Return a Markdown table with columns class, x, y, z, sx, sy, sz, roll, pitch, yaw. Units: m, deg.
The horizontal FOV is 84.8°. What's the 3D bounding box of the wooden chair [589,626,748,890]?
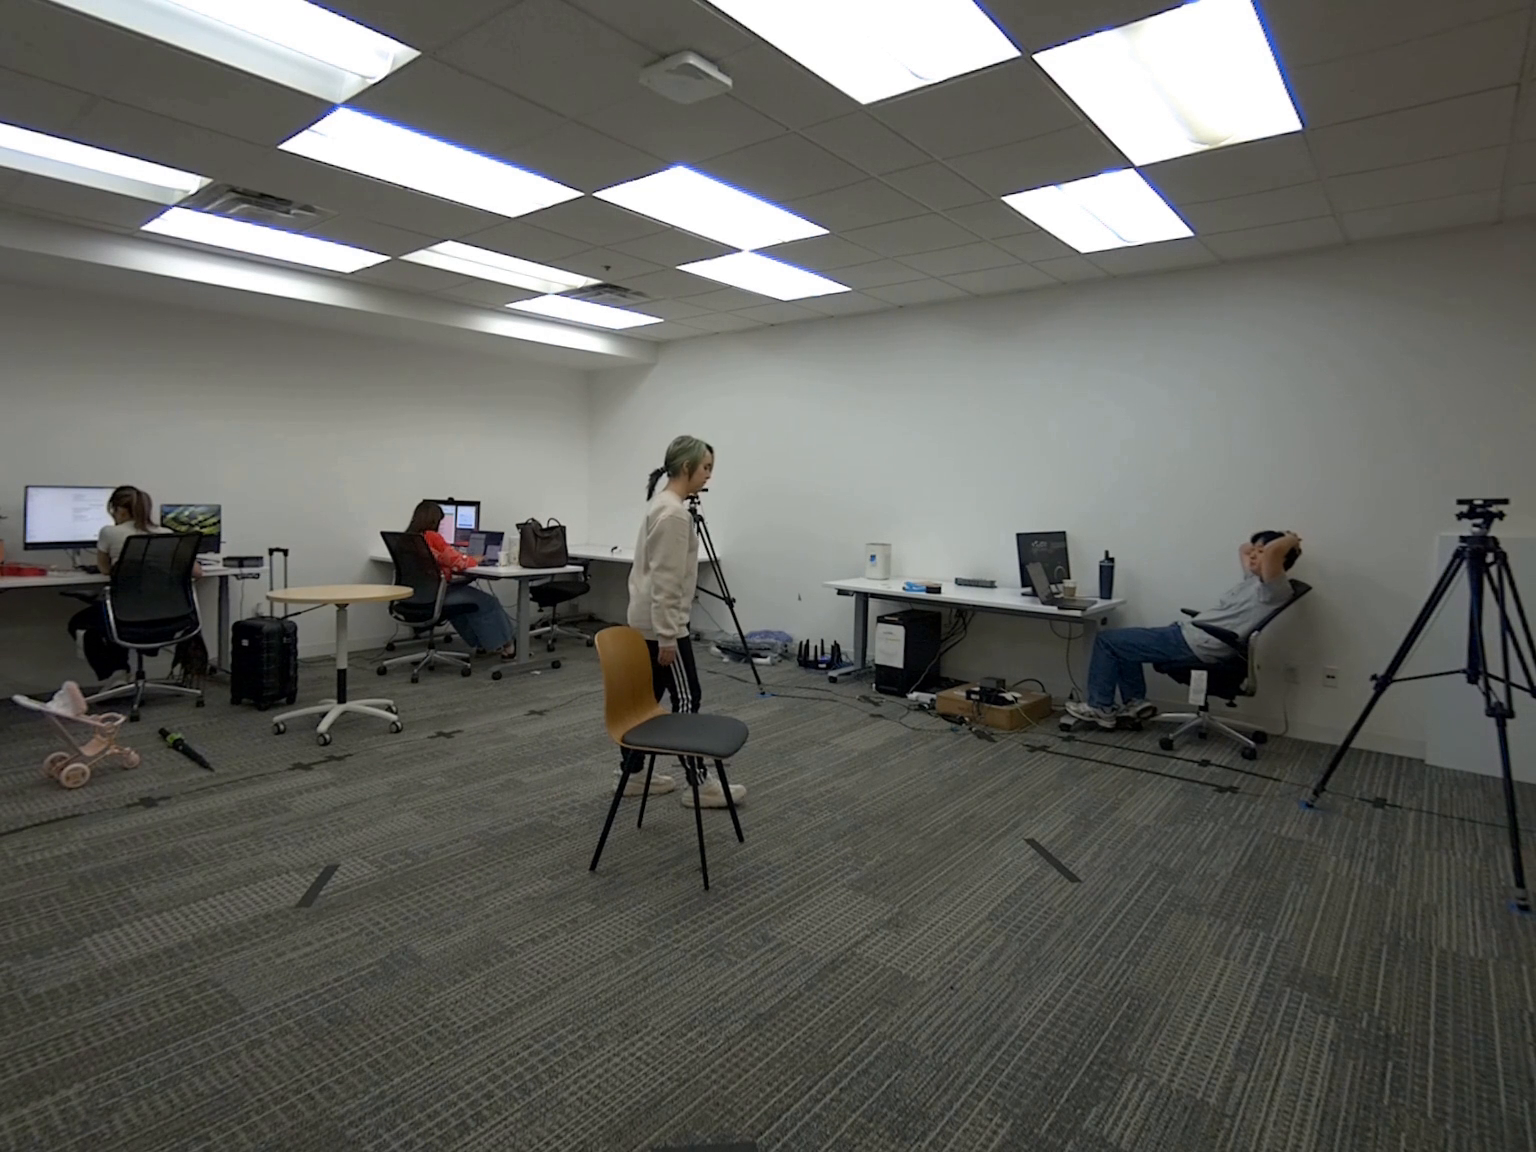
| class | x | y | z | sx | sy | sz | roll | pitch | yaw |
| --- | --- | --- | --- | --- | --- | --- | --- | --- | --- |
| wooden chair | -0.360 | 0.631 | 3.190 | 0.532 | 0.876 | 0.471 | -3 | 2 | 16 |
